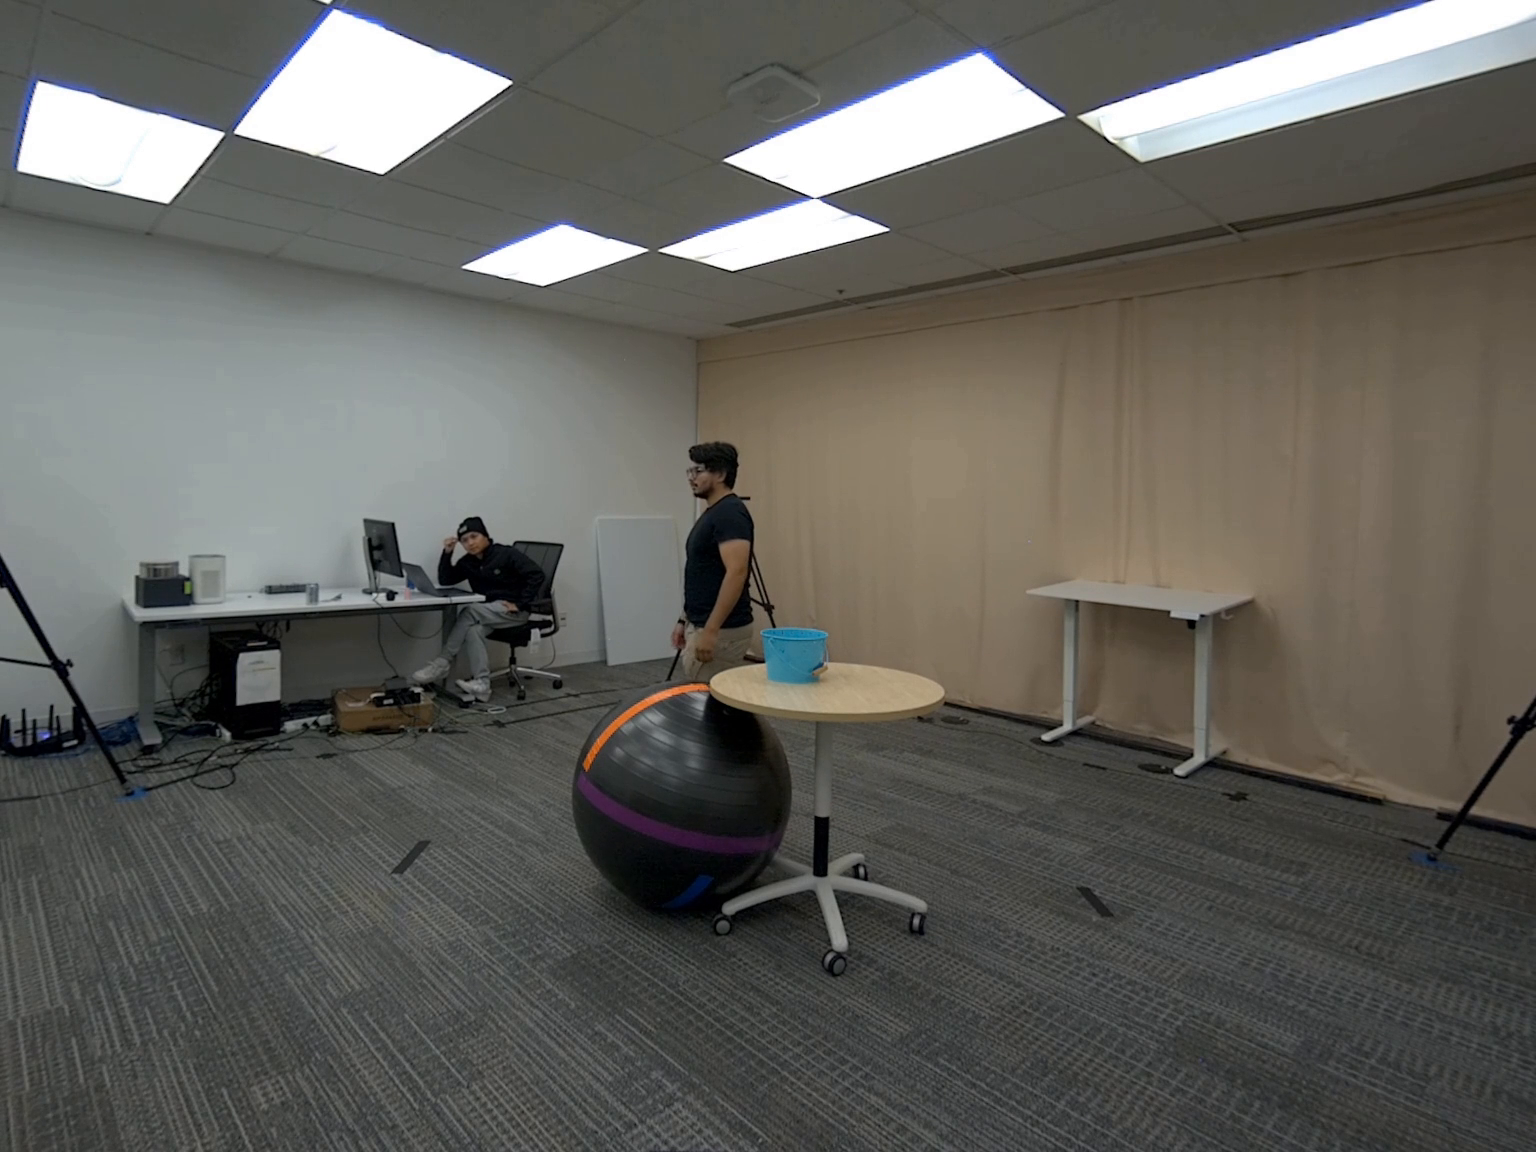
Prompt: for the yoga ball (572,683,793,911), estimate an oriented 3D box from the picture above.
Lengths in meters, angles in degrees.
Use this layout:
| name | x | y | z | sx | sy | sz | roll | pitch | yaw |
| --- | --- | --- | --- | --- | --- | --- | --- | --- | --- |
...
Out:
| name | x | y | z | sx | sy | sz | roll | pitch | yaw |
| --- | --- | --- | --- | --- | --- | --- | --- | --- | --- |
| yoga ball | -0.303 | 0.752 | 2.929 | 0.757 | 0.756 | 0.761 | 1 | 4 | -1 |
